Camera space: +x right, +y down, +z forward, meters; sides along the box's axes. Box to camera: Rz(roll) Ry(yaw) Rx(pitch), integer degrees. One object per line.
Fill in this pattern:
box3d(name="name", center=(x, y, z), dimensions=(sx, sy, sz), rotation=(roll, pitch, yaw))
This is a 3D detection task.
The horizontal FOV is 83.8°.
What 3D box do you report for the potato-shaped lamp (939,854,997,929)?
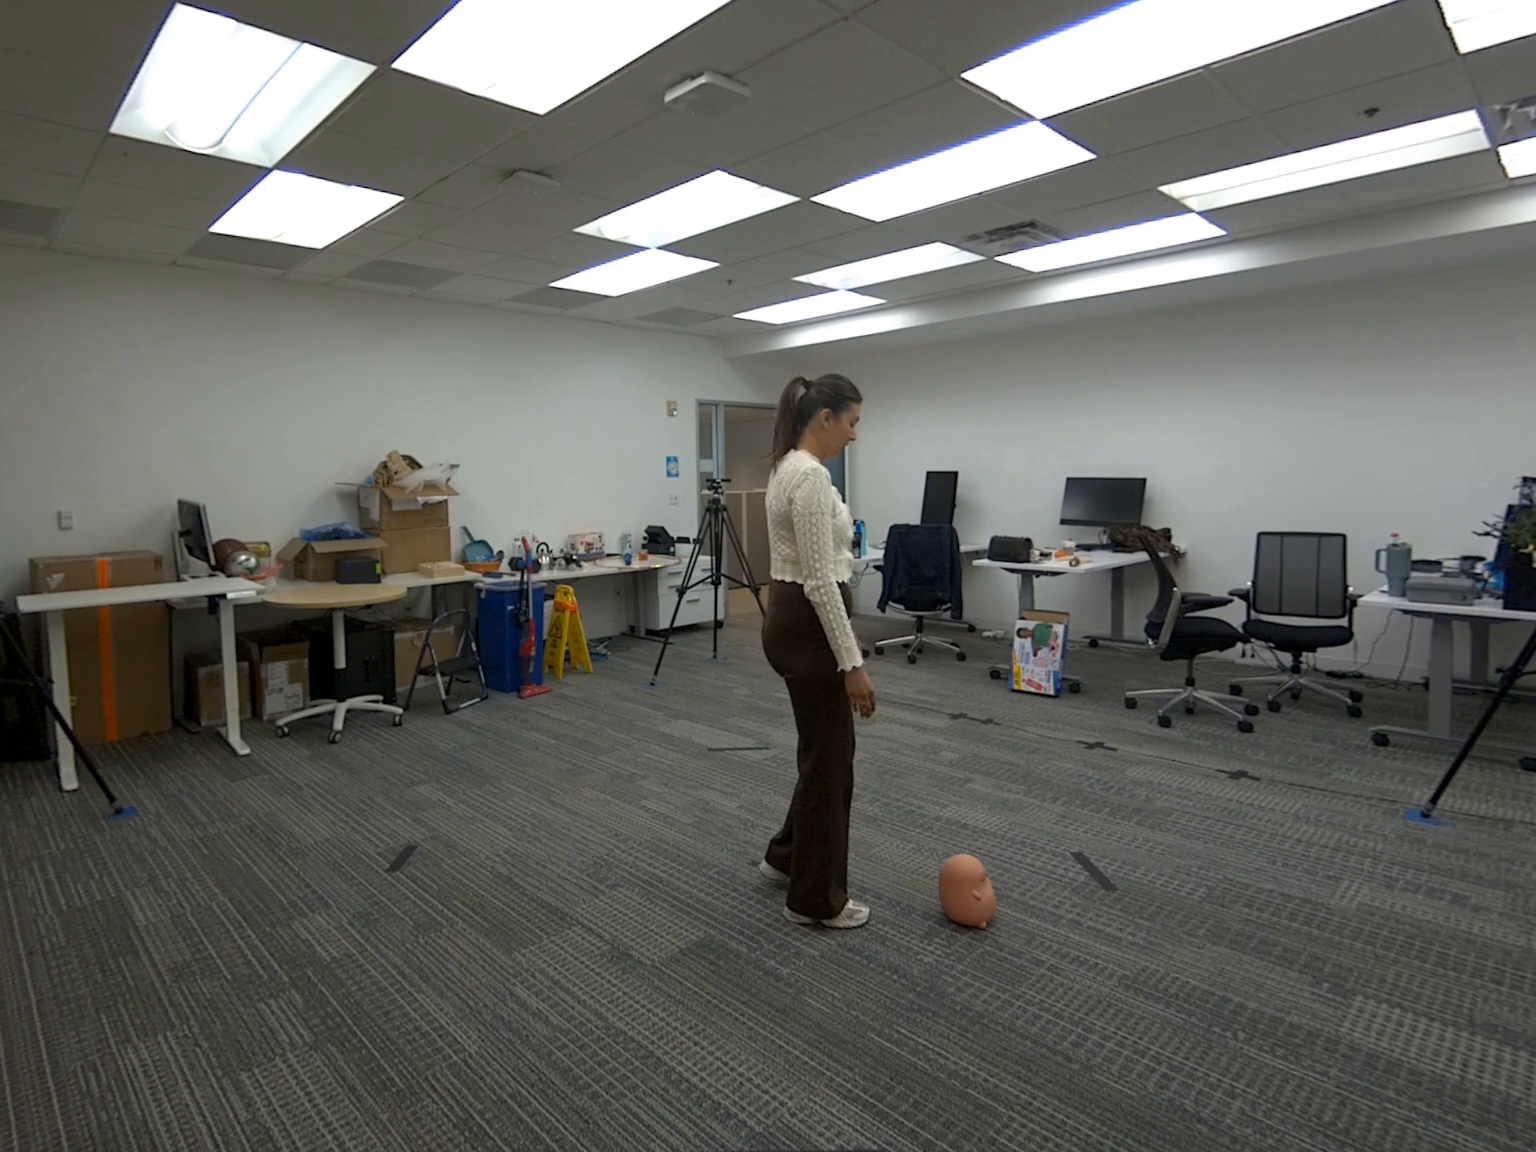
box3d(name="potato-shaped lamp", center=(0.627, 0.979, 2.686), dimensions=(0.176, 0.197, 0.161), rotation=(3, 7, 34))
